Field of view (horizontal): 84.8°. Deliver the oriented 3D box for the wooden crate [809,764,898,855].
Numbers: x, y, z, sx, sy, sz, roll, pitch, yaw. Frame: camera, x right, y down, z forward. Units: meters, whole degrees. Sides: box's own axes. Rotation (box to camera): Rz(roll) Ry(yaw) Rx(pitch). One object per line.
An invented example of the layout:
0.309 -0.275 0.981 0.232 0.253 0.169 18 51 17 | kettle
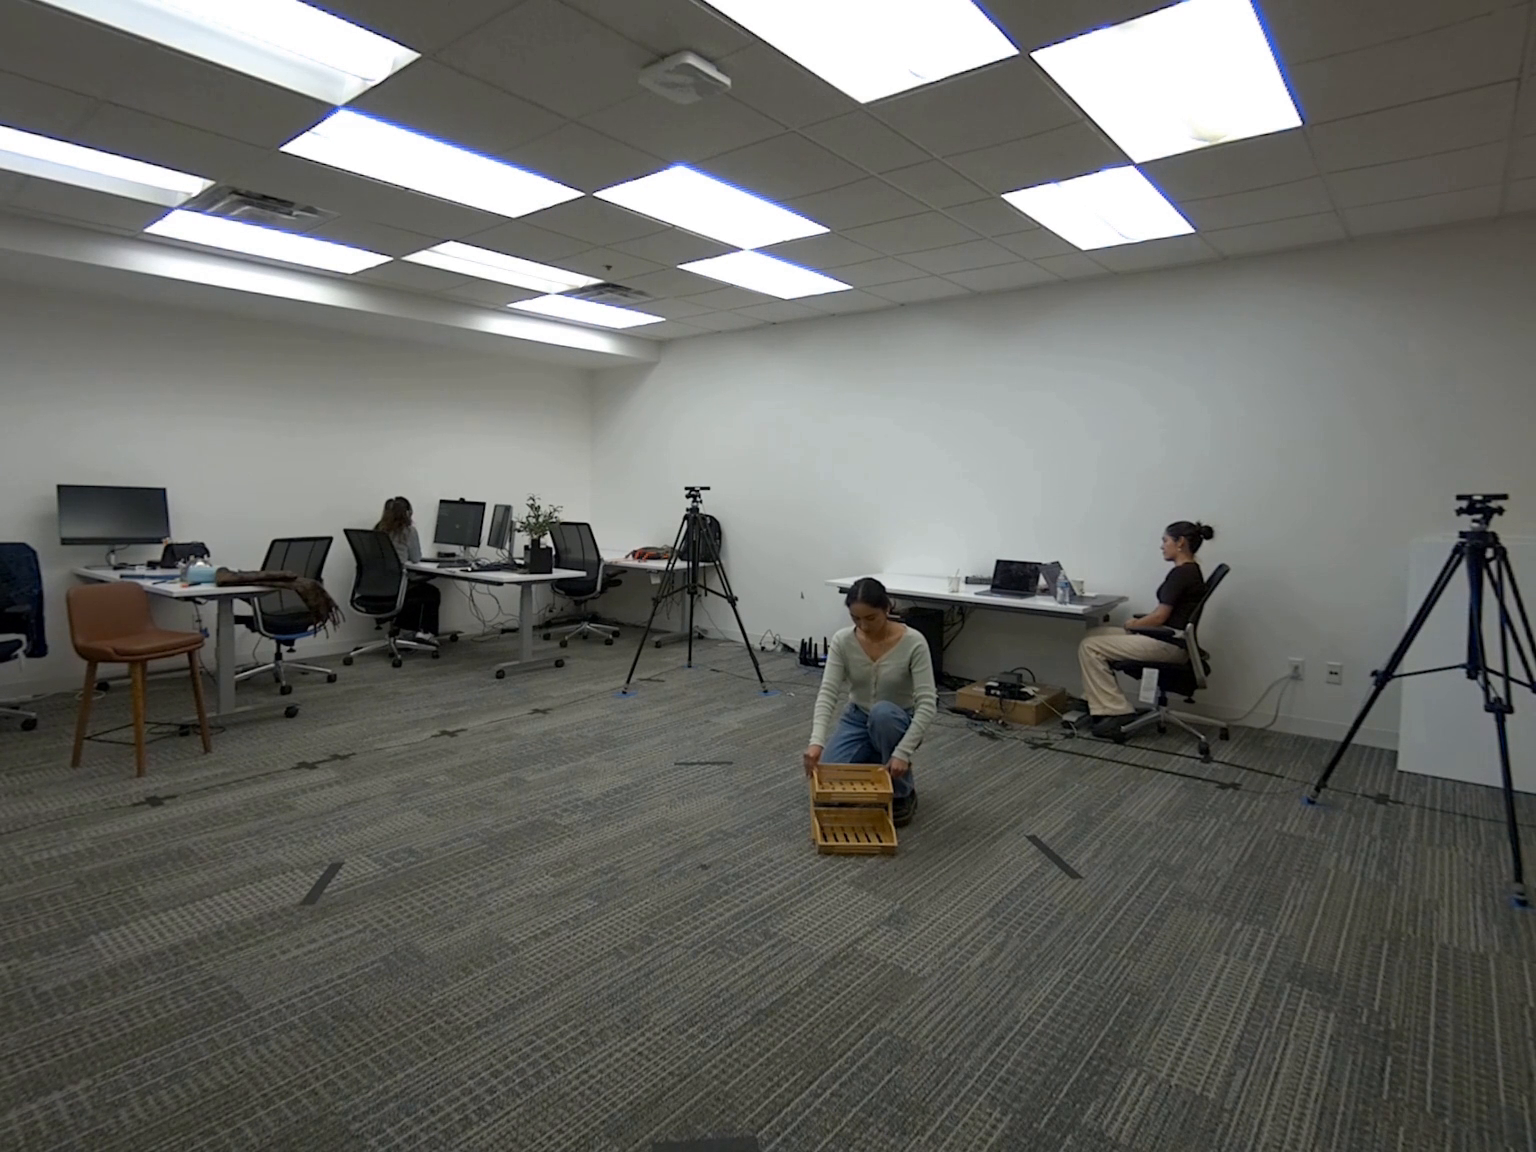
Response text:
0.332 0.919 3.367 0.324 0.272 0.304 1 5 -2 | wooden crate
